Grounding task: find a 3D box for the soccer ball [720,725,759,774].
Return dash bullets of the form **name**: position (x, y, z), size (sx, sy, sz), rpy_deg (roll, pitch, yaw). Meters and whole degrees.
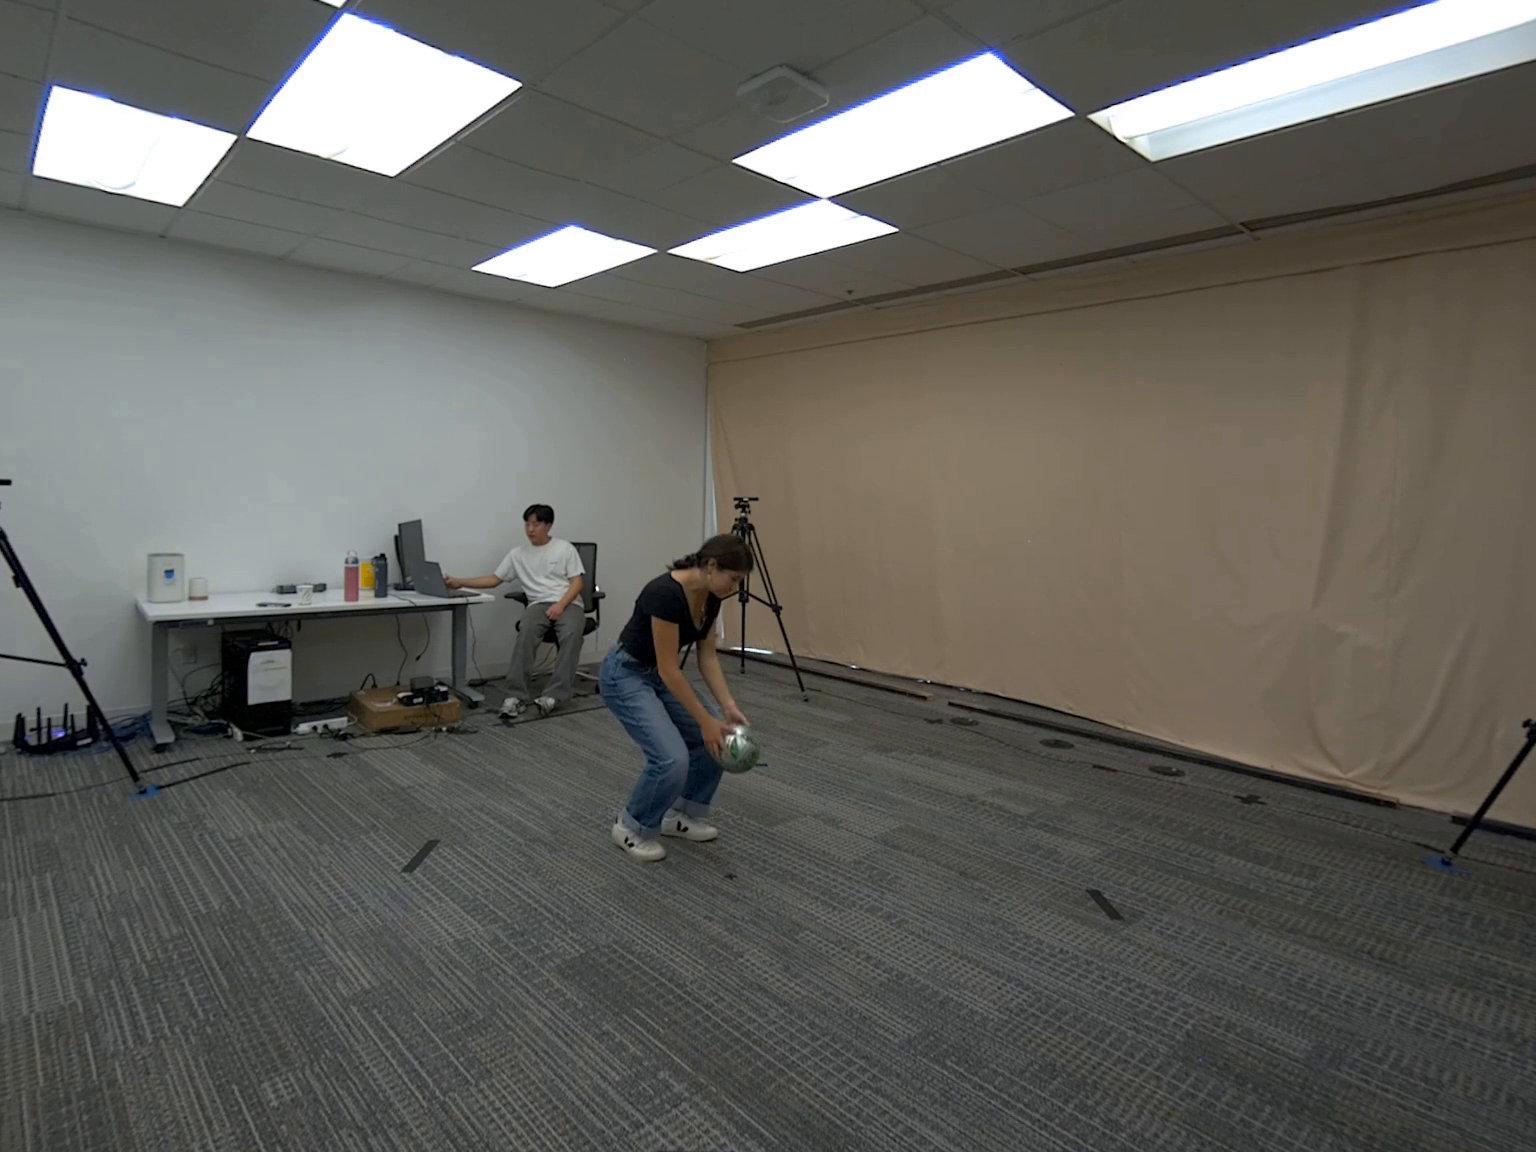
- **soccer ball**: position (-0.129, 0.664, 3.214), size (0.187, 0.187, 0.188), rpy_deg (1, 4, -1)
